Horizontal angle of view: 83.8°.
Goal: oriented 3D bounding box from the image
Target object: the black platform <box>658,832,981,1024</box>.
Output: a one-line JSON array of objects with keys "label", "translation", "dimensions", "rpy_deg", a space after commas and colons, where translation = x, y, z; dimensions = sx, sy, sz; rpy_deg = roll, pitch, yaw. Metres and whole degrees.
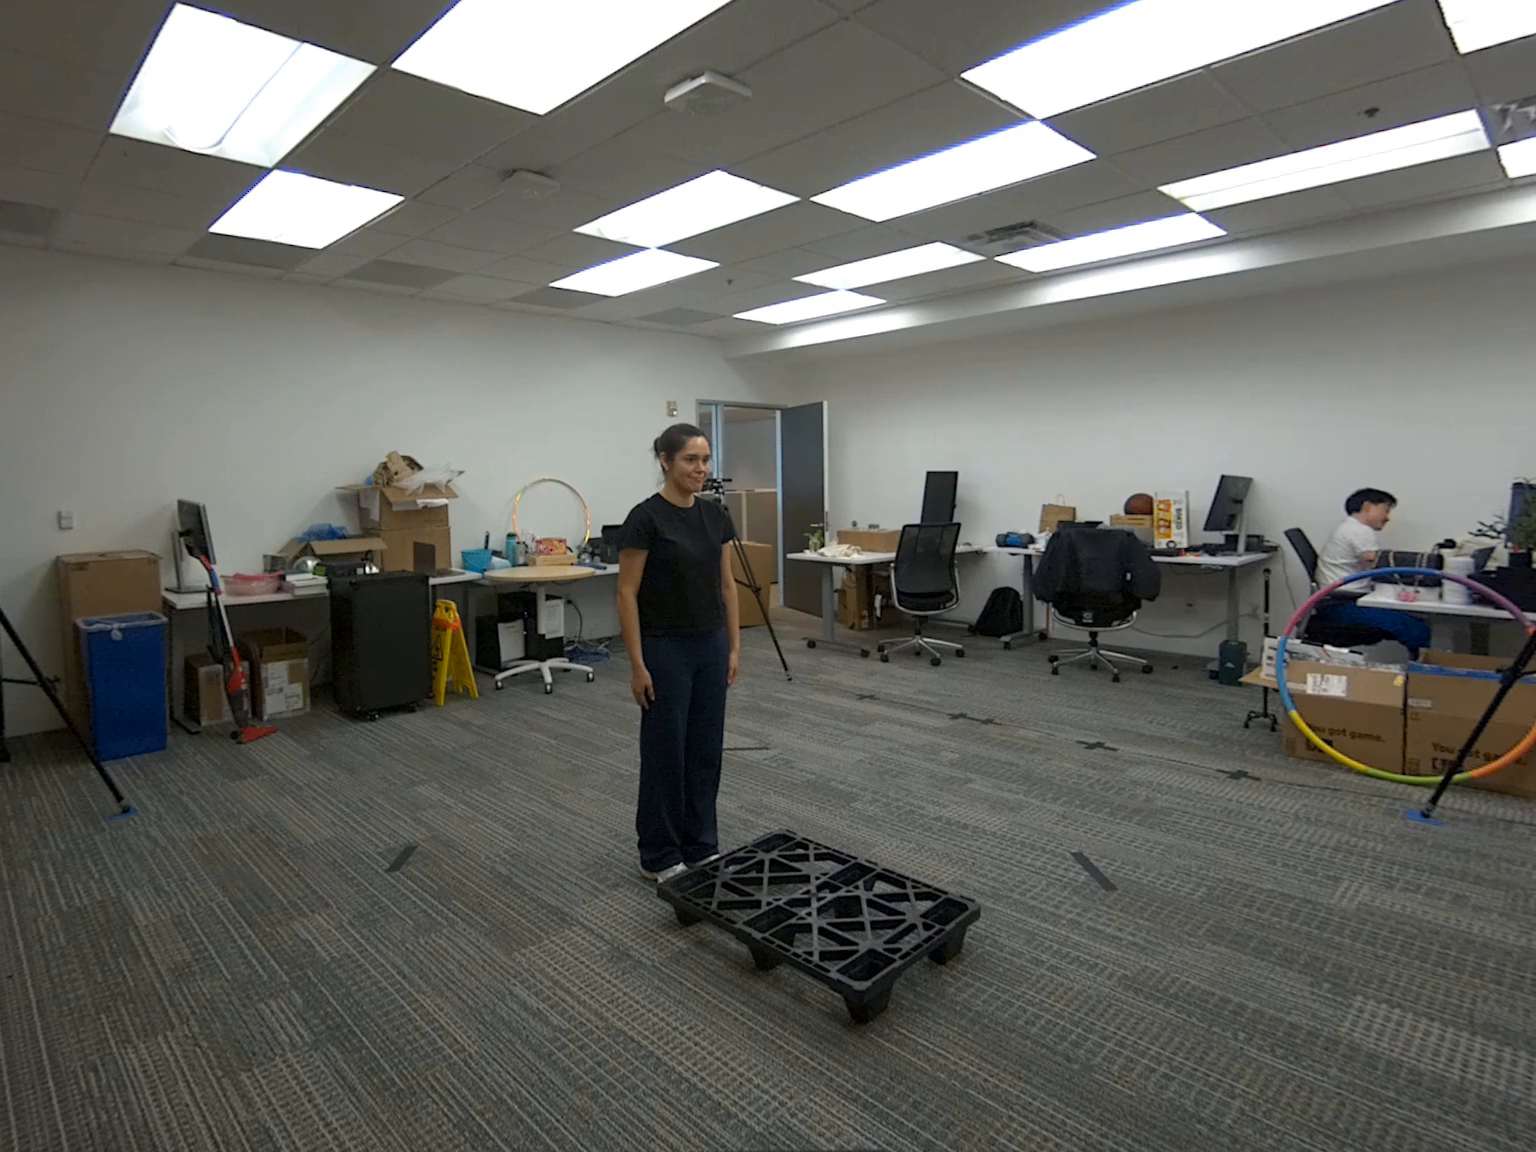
[{"label": "black platform", "translation": [0.144, 1.035, 2.616], "dimensions": [0.831, 0.142, 0.589], "rpy_deg": [6, 9, 44]}]
